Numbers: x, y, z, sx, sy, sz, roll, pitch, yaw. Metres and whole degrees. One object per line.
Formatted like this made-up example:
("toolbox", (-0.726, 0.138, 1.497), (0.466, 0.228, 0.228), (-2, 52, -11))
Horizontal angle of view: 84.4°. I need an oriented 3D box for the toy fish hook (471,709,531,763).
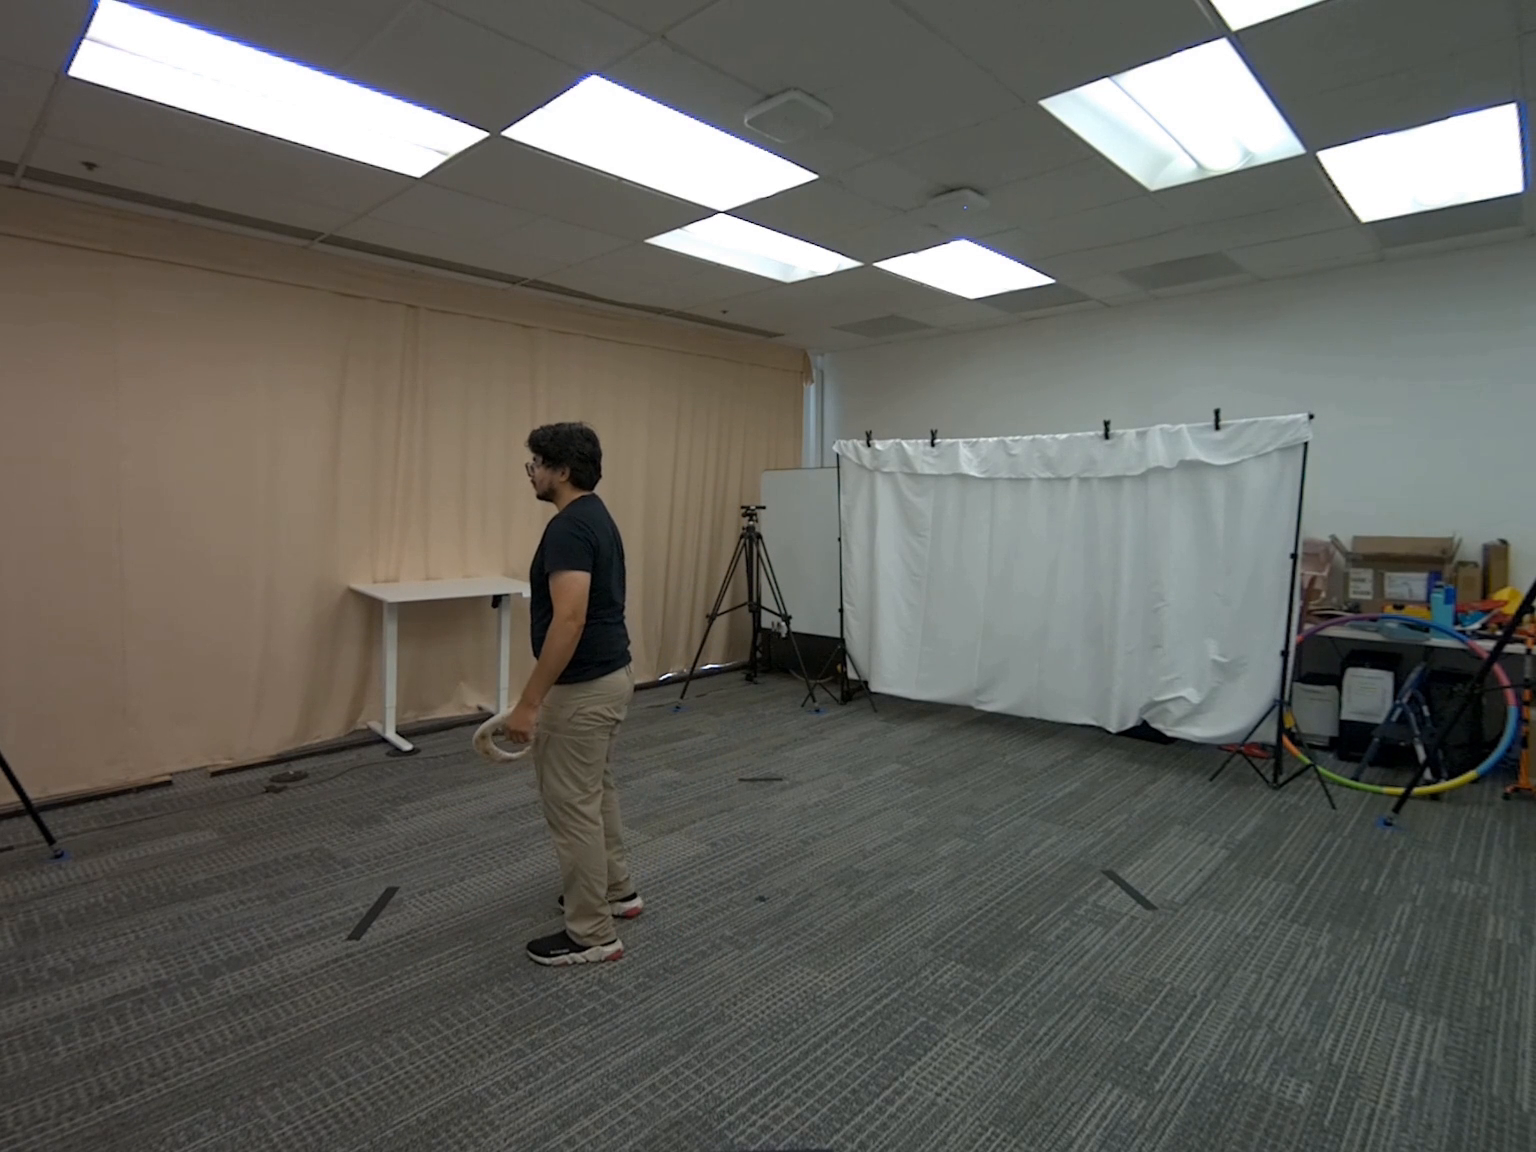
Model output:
("toy fish hook", (-0.864, 0.519, 3.044), (0.218, 0.511, 0.049), (36, 25, -29))
